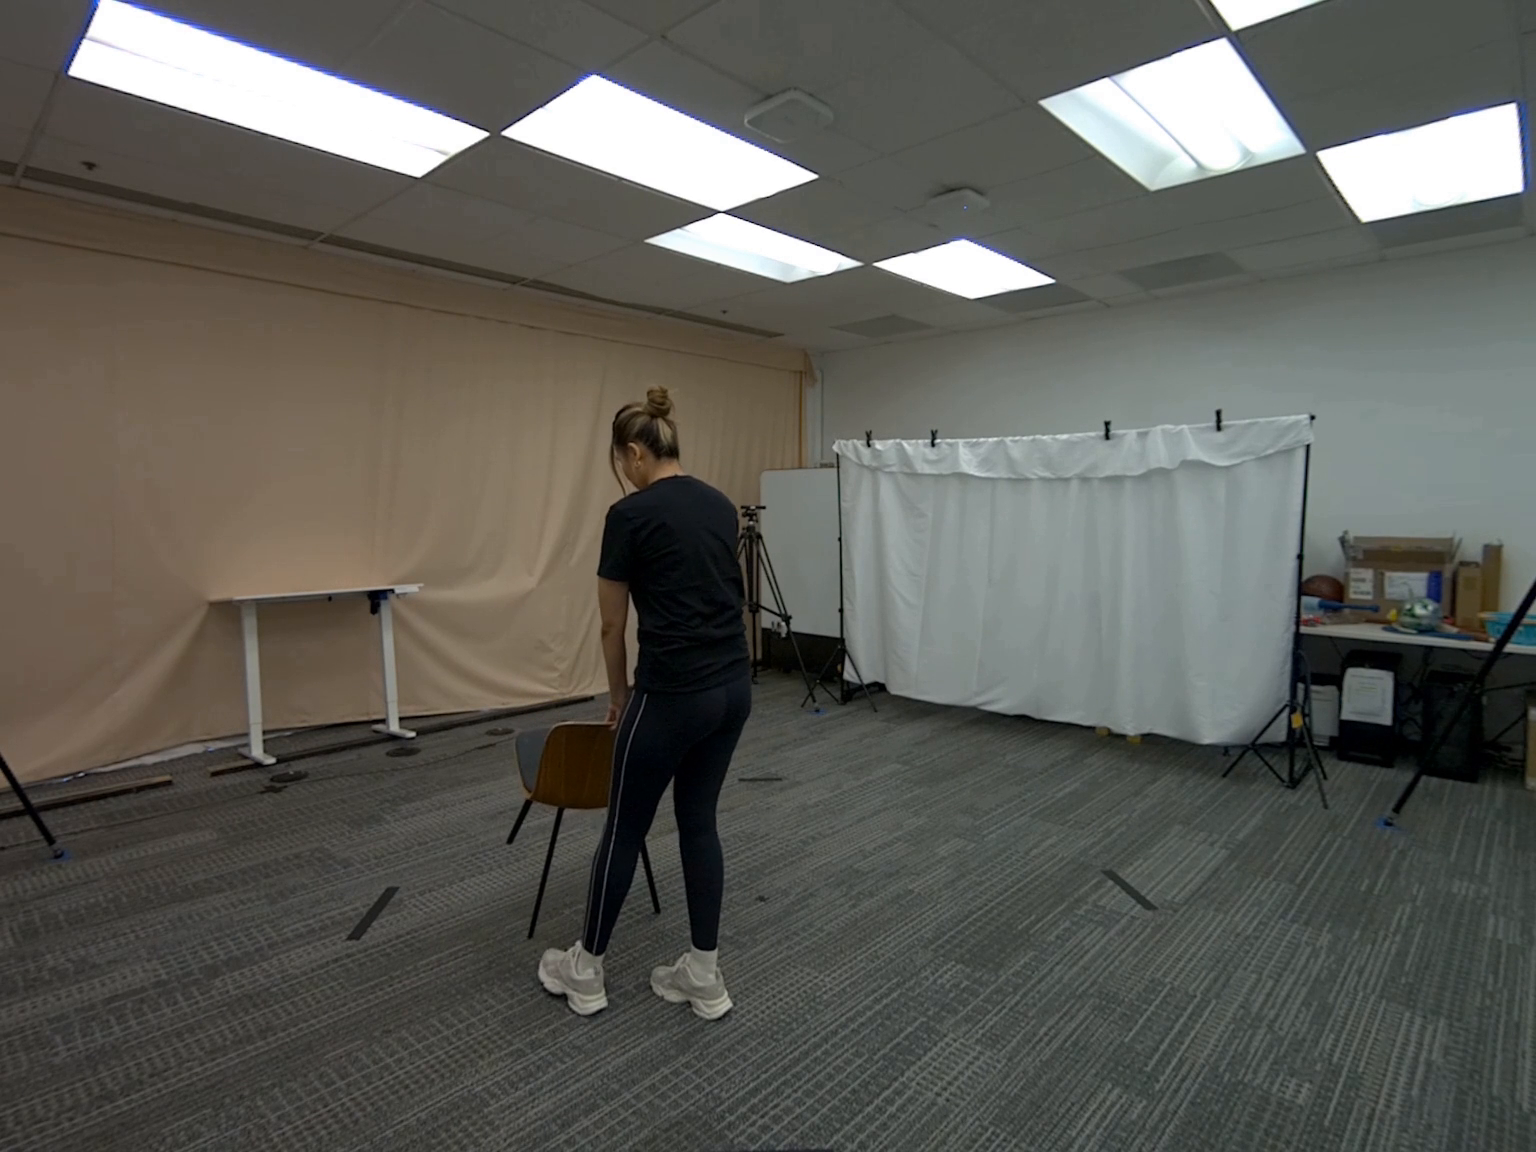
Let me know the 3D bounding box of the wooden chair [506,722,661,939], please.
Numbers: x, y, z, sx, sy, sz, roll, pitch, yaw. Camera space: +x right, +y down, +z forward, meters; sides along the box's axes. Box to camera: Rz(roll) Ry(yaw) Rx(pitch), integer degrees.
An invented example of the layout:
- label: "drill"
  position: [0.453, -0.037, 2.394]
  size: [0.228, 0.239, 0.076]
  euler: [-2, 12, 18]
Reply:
- label: "wooden chair"
  position: [-0.605, 0.683, 2.828]
  size: [0.467, 0.868, 0.540]
  euler: [-2, 29, -24]
